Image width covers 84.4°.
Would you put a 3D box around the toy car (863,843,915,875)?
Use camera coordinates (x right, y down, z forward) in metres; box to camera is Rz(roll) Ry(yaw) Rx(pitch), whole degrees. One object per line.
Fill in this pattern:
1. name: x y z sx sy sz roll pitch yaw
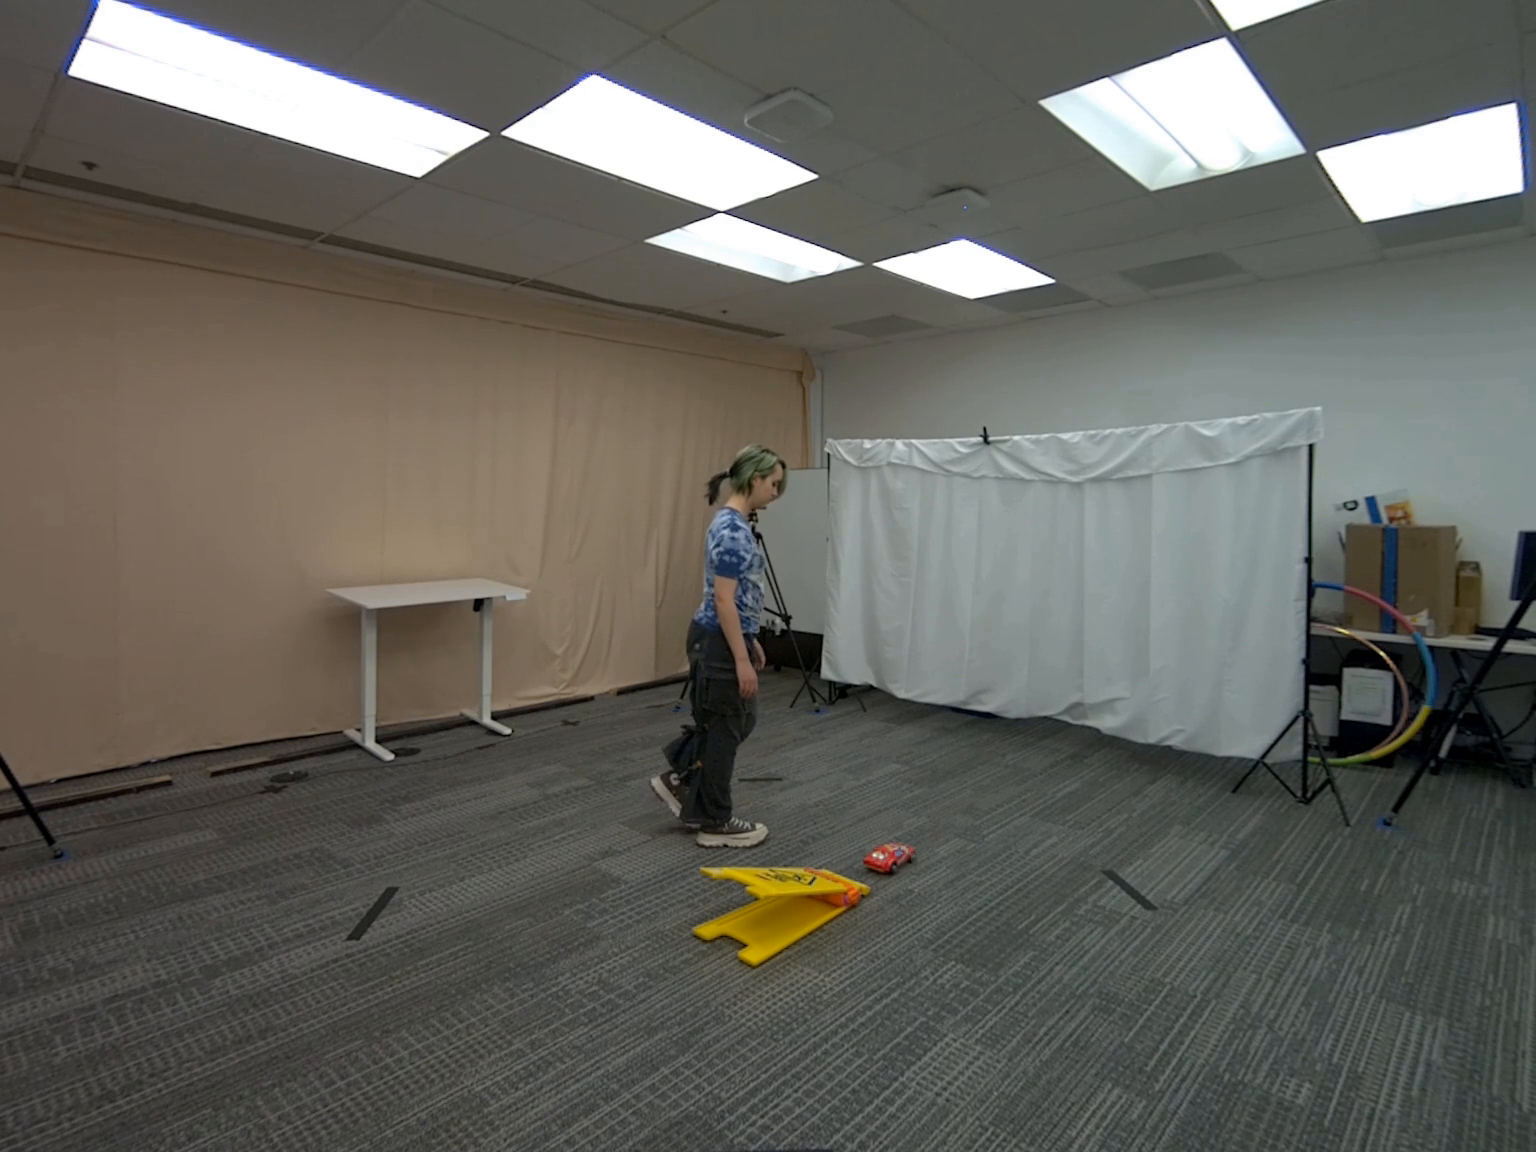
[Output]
1. toy car: 0.467 1.087 3.252 0.134 0.083 0.245 3 -6 42
